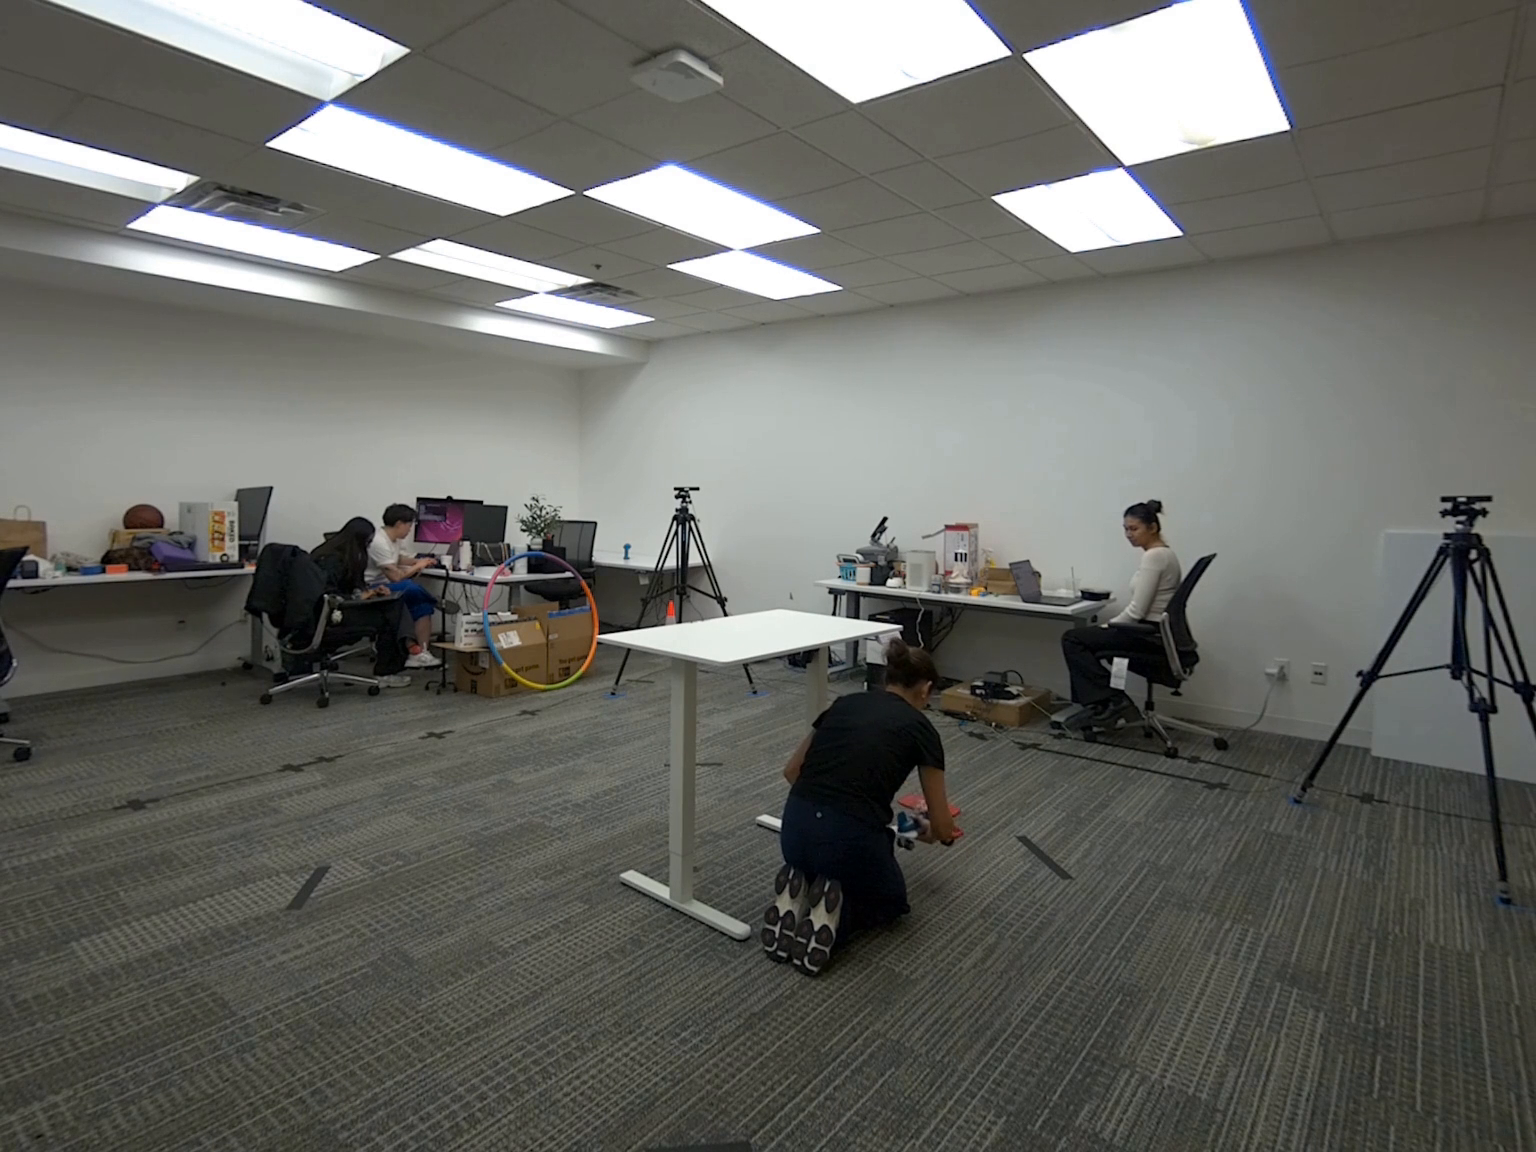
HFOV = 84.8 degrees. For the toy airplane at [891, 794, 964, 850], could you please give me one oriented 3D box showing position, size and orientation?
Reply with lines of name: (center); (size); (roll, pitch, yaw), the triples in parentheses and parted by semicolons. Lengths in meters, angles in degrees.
toy airplane: (0.577, 0.872, 3.025); (0.257, 0.157, 0.251); (1, -4, 25)
